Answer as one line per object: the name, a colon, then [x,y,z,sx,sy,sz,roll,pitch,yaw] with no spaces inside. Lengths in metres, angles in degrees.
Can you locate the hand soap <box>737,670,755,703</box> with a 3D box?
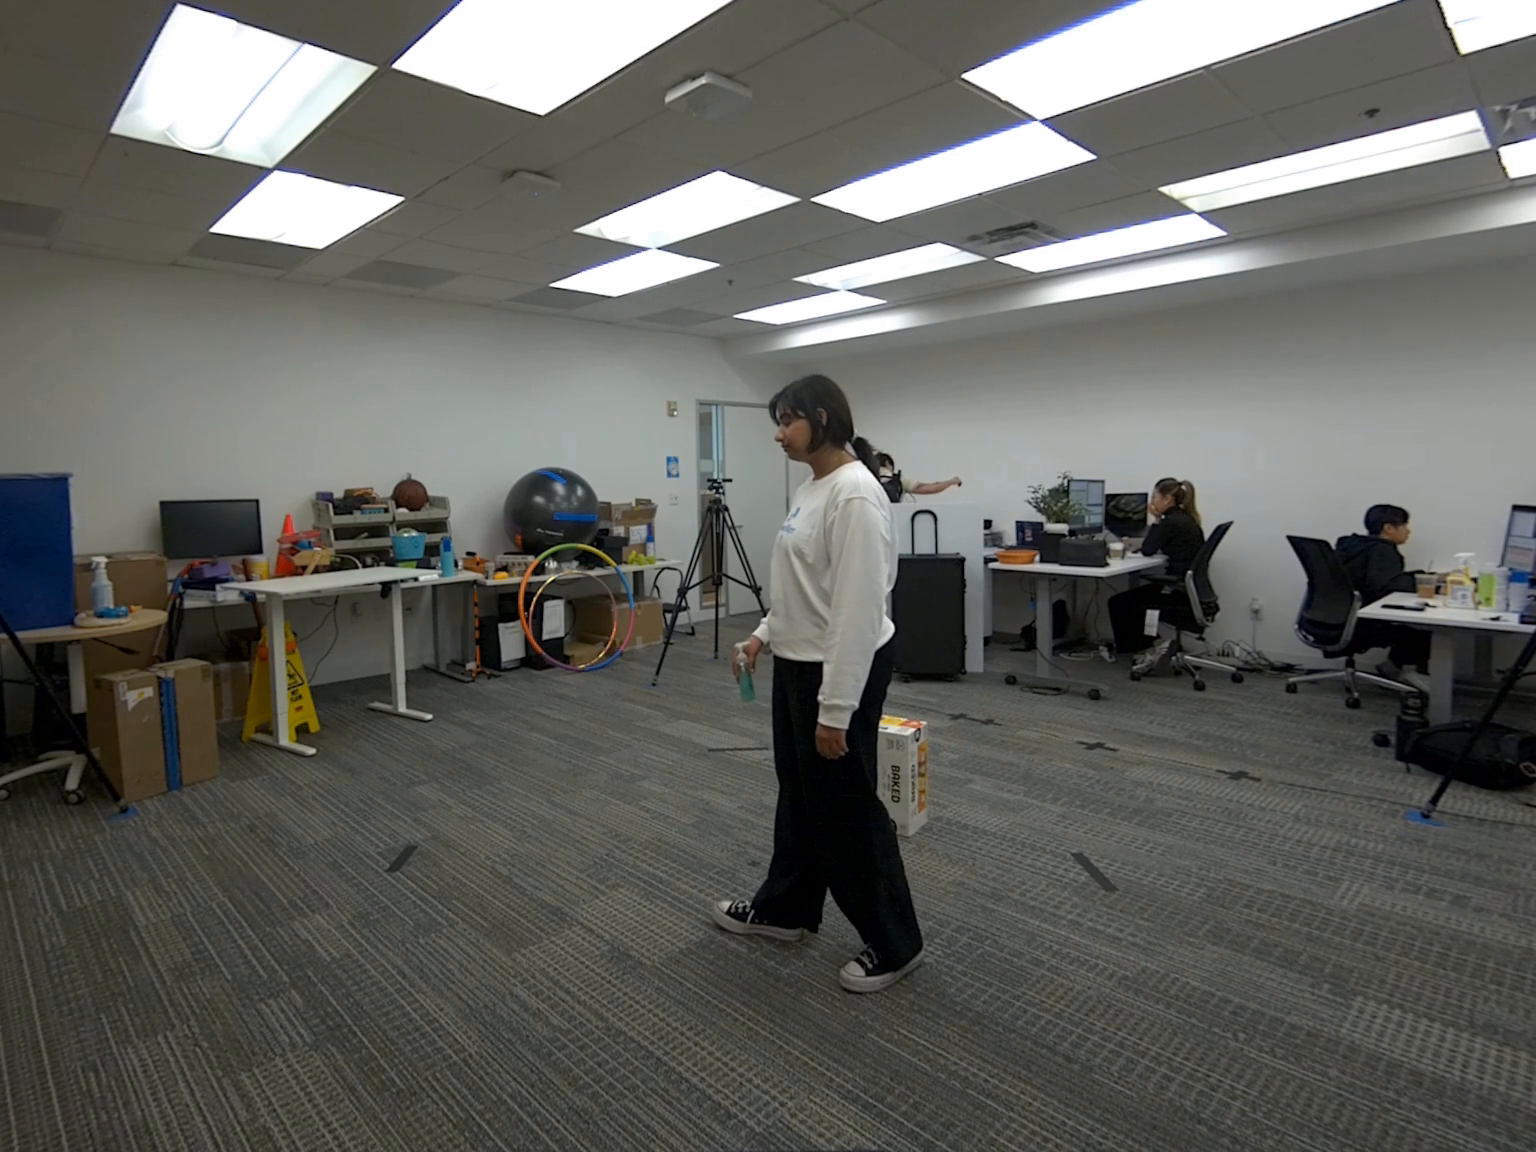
hand soap: [-0.063,0.277,2.505,0.043,0.167,0.084,-5,4,3]
